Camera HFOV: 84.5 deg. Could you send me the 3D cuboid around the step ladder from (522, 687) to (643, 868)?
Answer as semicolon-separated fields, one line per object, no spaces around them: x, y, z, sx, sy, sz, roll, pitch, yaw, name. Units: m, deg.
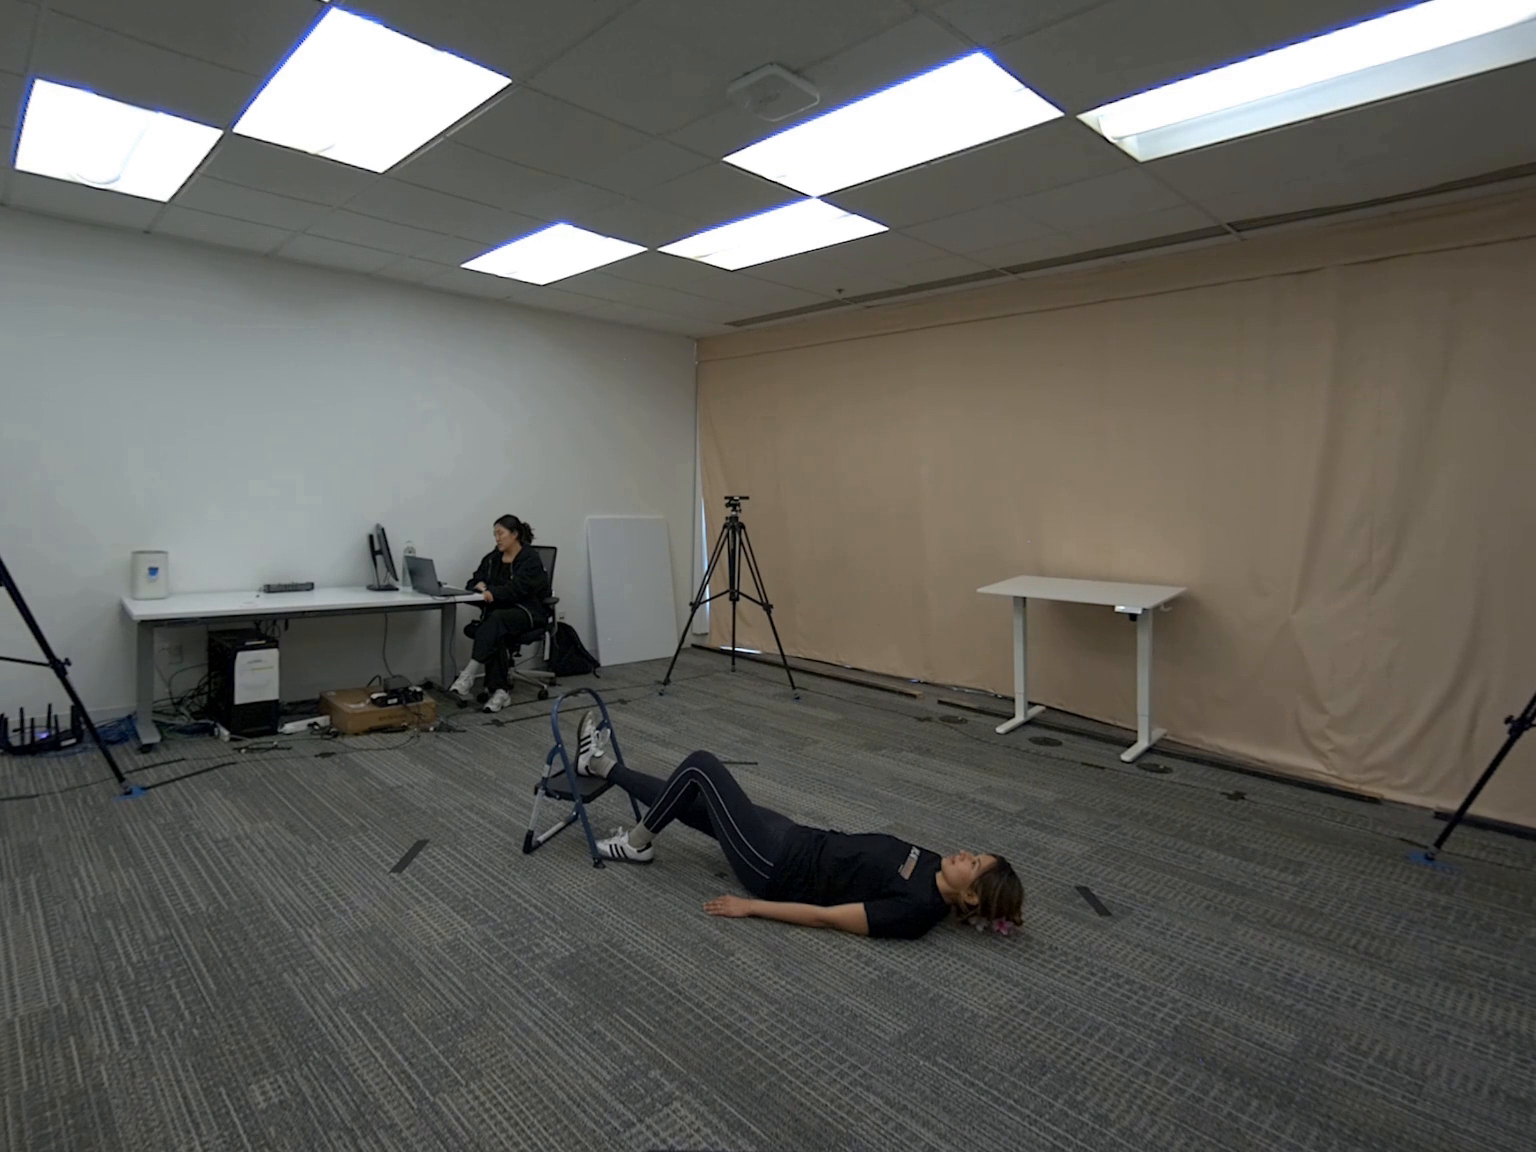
-0.730;0.765;3.376;0.354;0.604;0.426;2;4;16;step ladder
